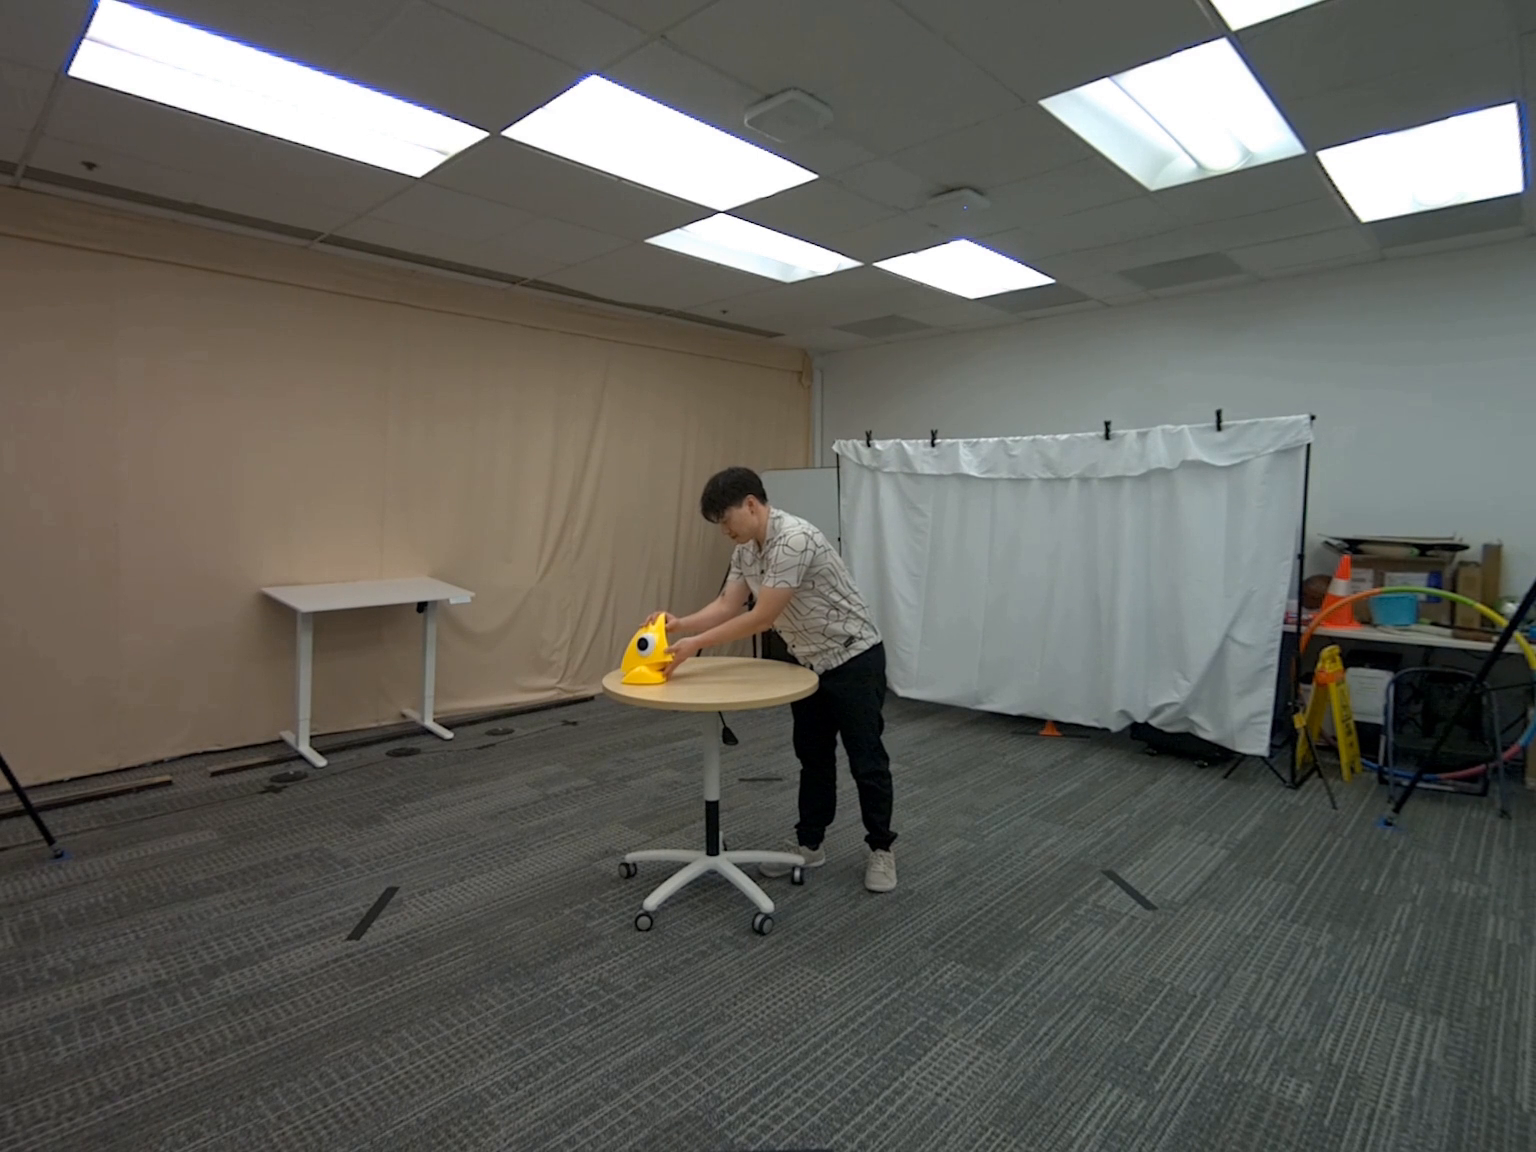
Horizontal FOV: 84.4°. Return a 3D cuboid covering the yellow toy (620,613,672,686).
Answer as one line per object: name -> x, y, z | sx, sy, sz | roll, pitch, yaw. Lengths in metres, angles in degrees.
yellow toy -> -0.430, 0.250, 2.974 | 0.193, 0.230, 0.205 | -1, 4, -2
